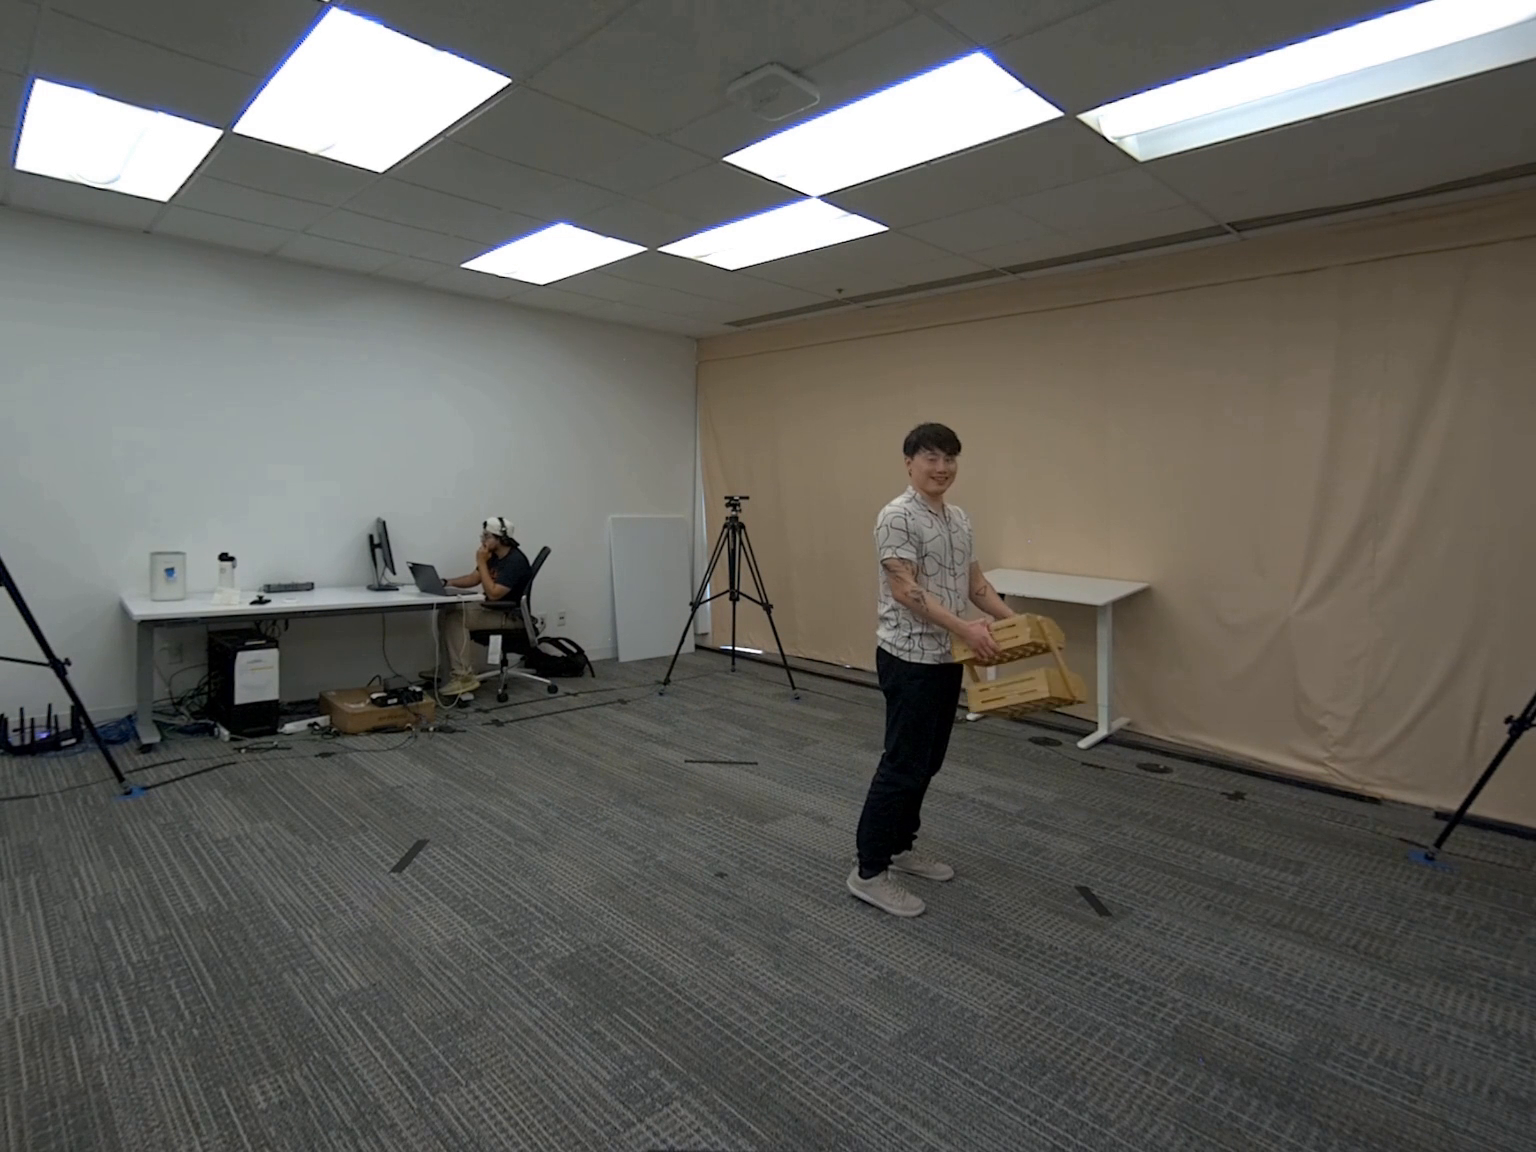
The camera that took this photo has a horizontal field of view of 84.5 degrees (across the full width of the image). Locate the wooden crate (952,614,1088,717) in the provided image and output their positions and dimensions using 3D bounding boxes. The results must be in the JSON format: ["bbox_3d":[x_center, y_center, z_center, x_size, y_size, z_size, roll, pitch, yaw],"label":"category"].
[{"bbox_3d":[0.811,0.301,2.803,0.294,0.277,0.328,13,-26,-40],"label":"wooden crate"}]
